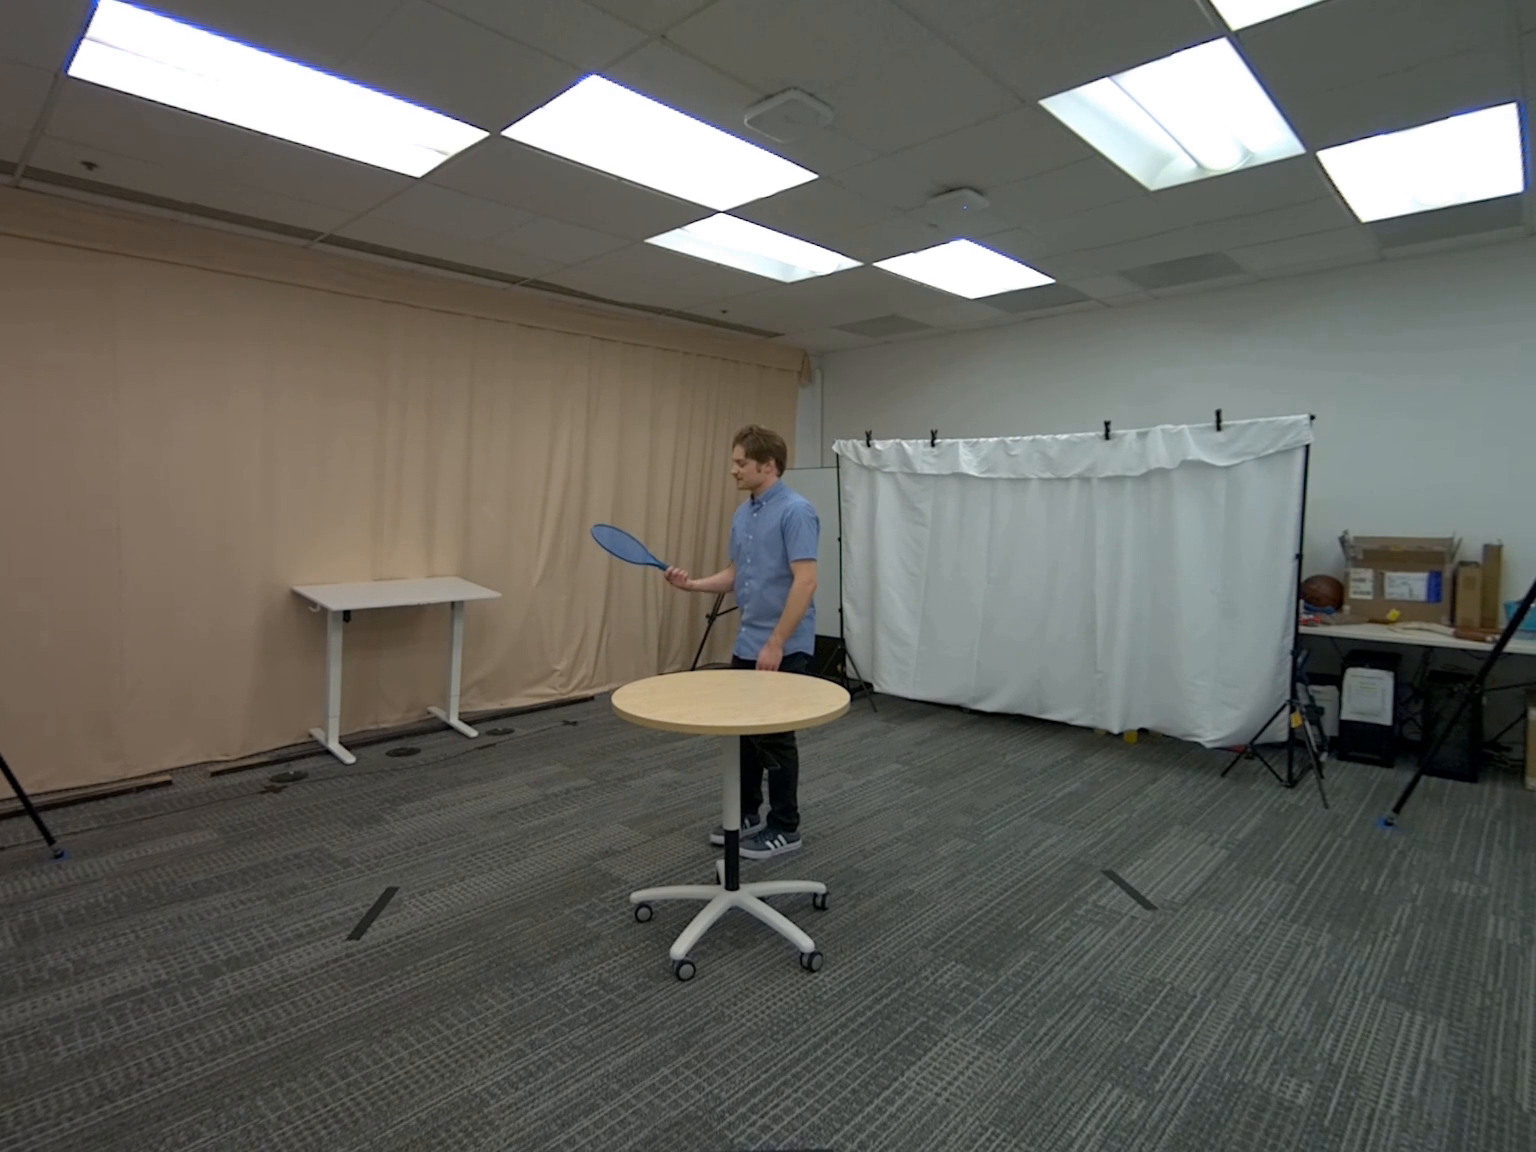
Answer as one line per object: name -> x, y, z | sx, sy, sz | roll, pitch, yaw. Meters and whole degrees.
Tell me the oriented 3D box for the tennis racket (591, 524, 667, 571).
tennis racket -> -0.512, -0.080, 3.377 | 0.426, 0.032, 0.217 | 28, 25, -13
